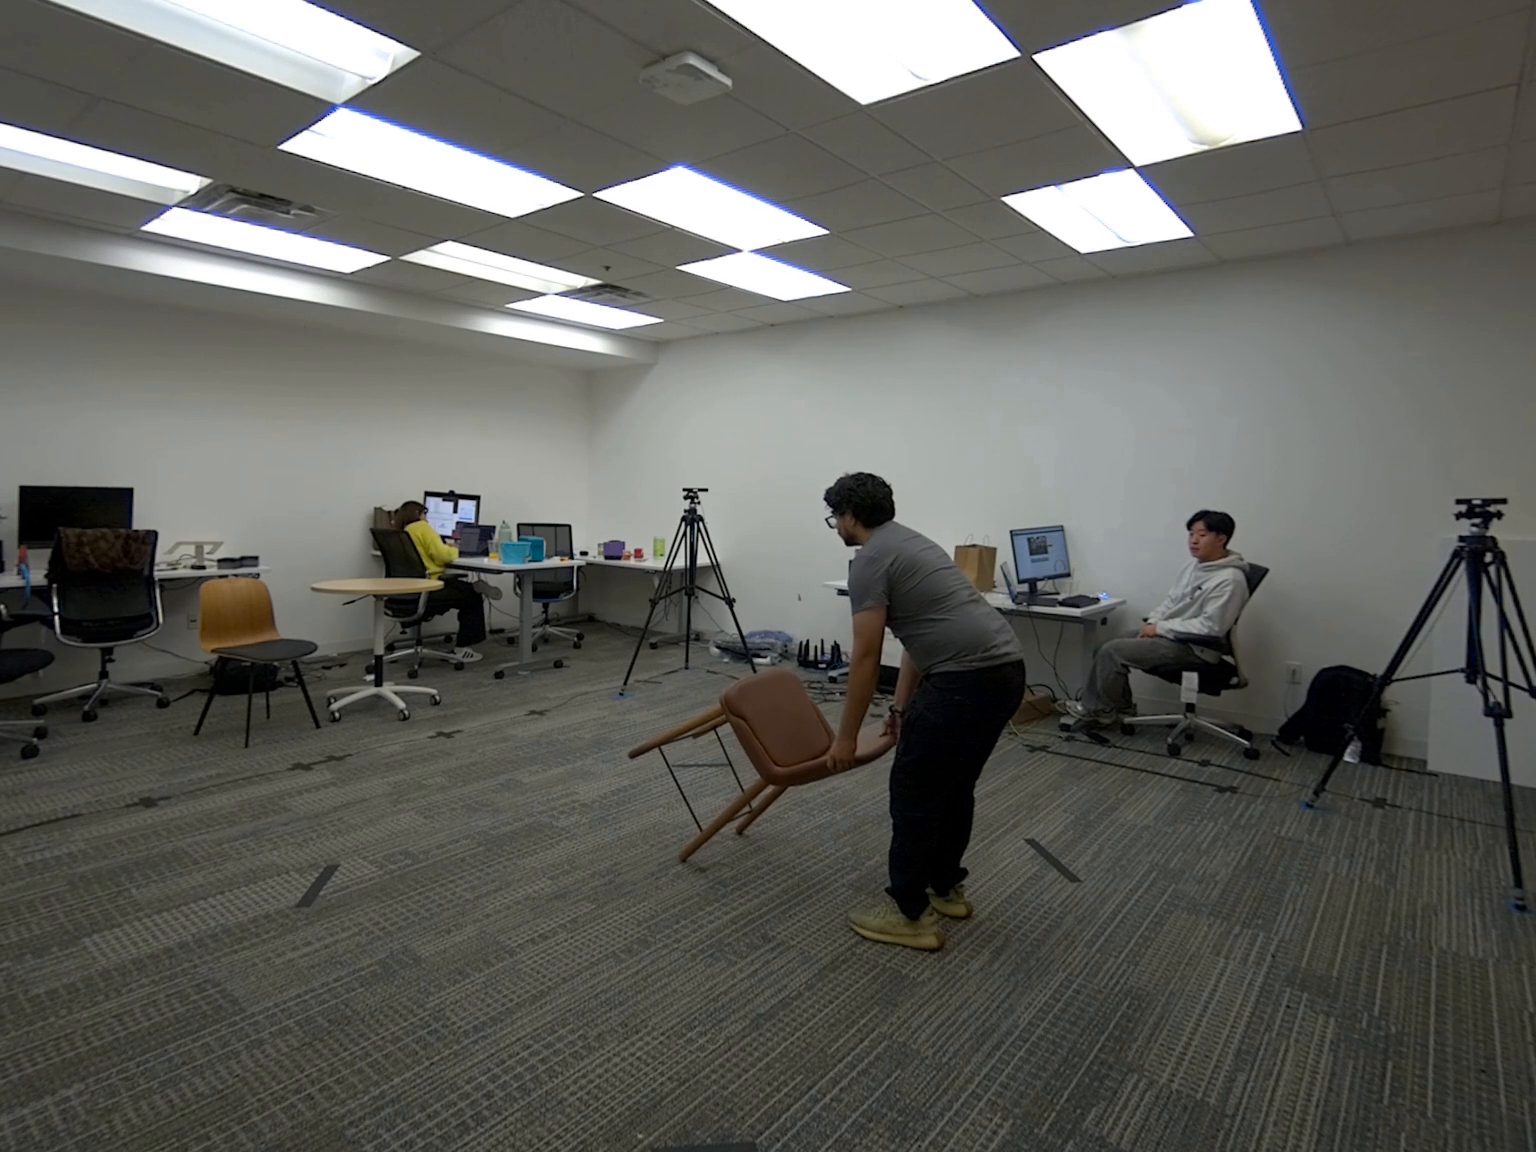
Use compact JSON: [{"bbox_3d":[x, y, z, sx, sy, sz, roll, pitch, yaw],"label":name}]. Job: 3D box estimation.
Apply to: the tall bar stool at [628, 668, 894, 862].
[{"bbox_3d":[-0.039,0.631,3.157,0.895,0.479,0.443,-38,-20,32],"label":"tall bar stool"}]
